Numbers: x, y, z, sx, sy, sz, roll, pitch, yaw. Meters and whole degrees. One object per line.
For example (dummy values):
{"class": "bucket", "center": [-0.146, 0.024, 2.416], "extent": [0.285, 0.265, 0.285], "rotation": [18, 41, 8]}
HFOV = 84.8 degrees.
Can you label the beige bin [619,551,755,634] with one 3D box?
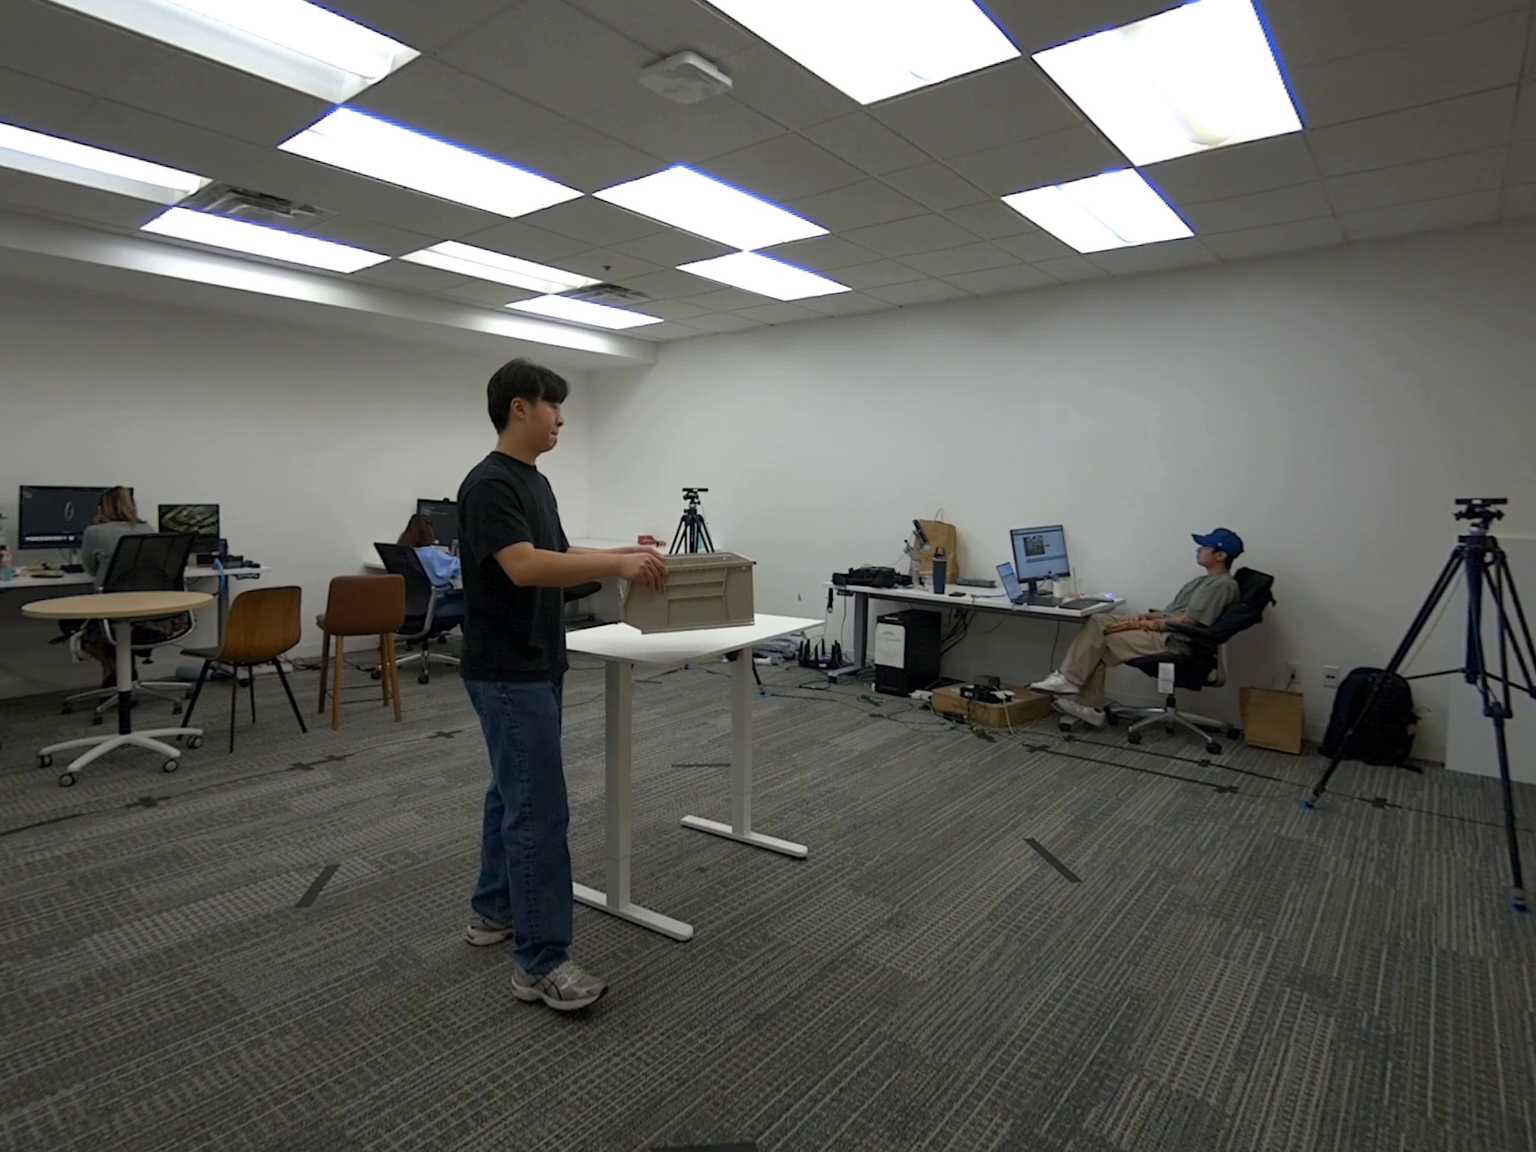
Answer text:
{"class": "beige bin", "center": [-0.260, 0.048, 2.510], "extent": [0.374, 0.188, 0.428], "rotation": [-3, 5, -10]}
